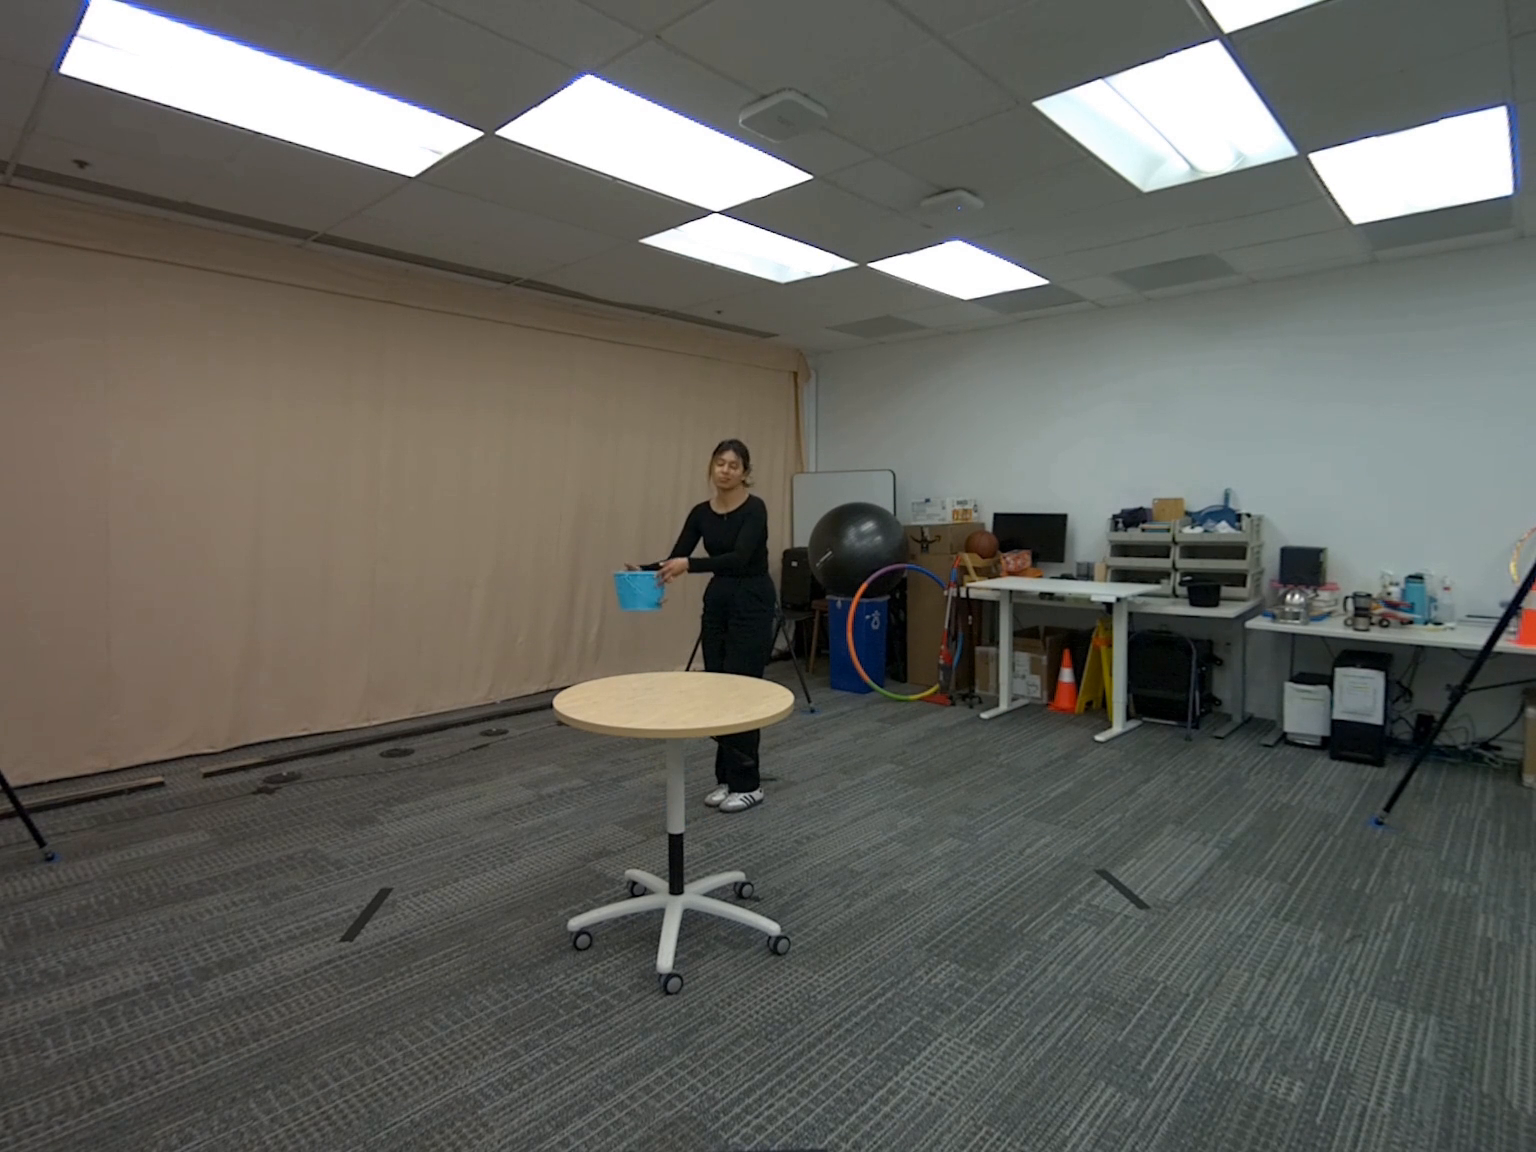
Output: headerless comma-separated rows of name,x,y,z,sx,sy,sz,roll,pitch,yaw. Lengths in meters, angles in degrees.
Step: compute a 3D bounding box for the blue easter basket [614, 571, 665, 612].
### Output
blue easter basket,-0.535,0.064,3.544,0.243,0.156,0.244,0,-1,-2
